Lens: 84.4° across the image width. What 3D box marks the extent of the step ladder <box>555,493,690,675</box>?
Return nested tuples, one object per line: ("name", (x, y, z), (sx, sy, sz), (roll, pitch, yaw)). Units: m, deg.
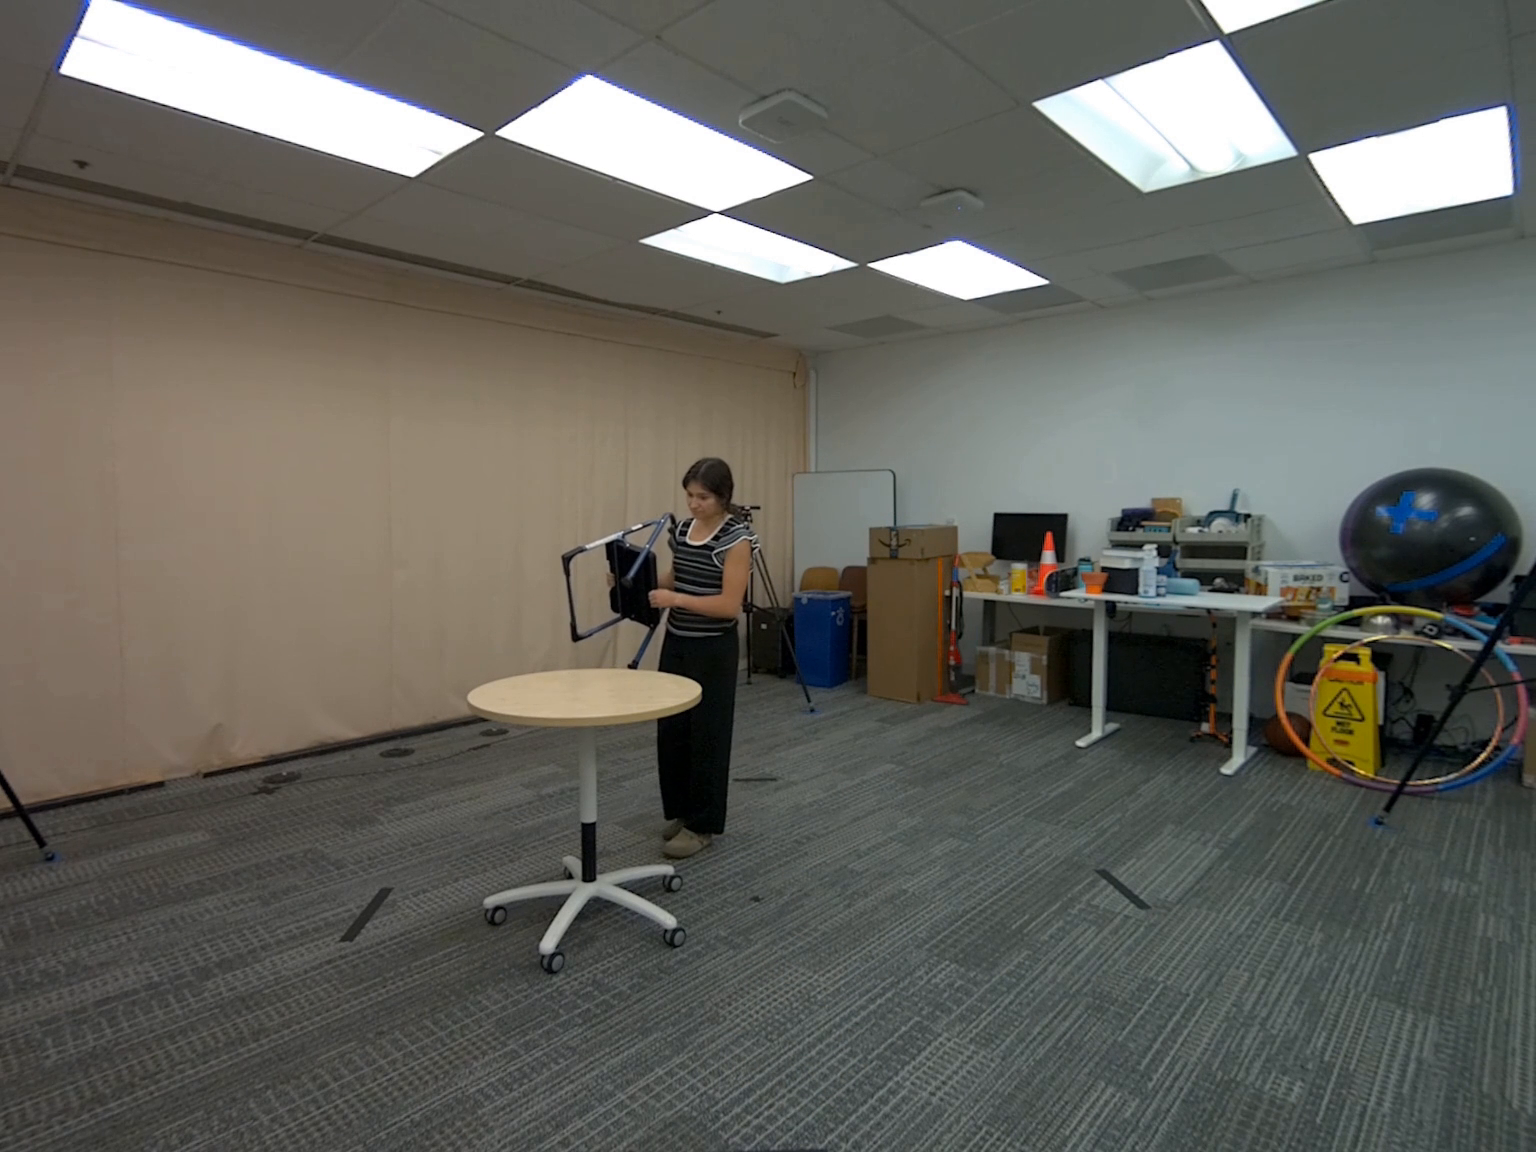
("step ladder", (-0.505, 0.011, 3.453), (0.360, 0.423, 0.597), (18, 35, 27))
